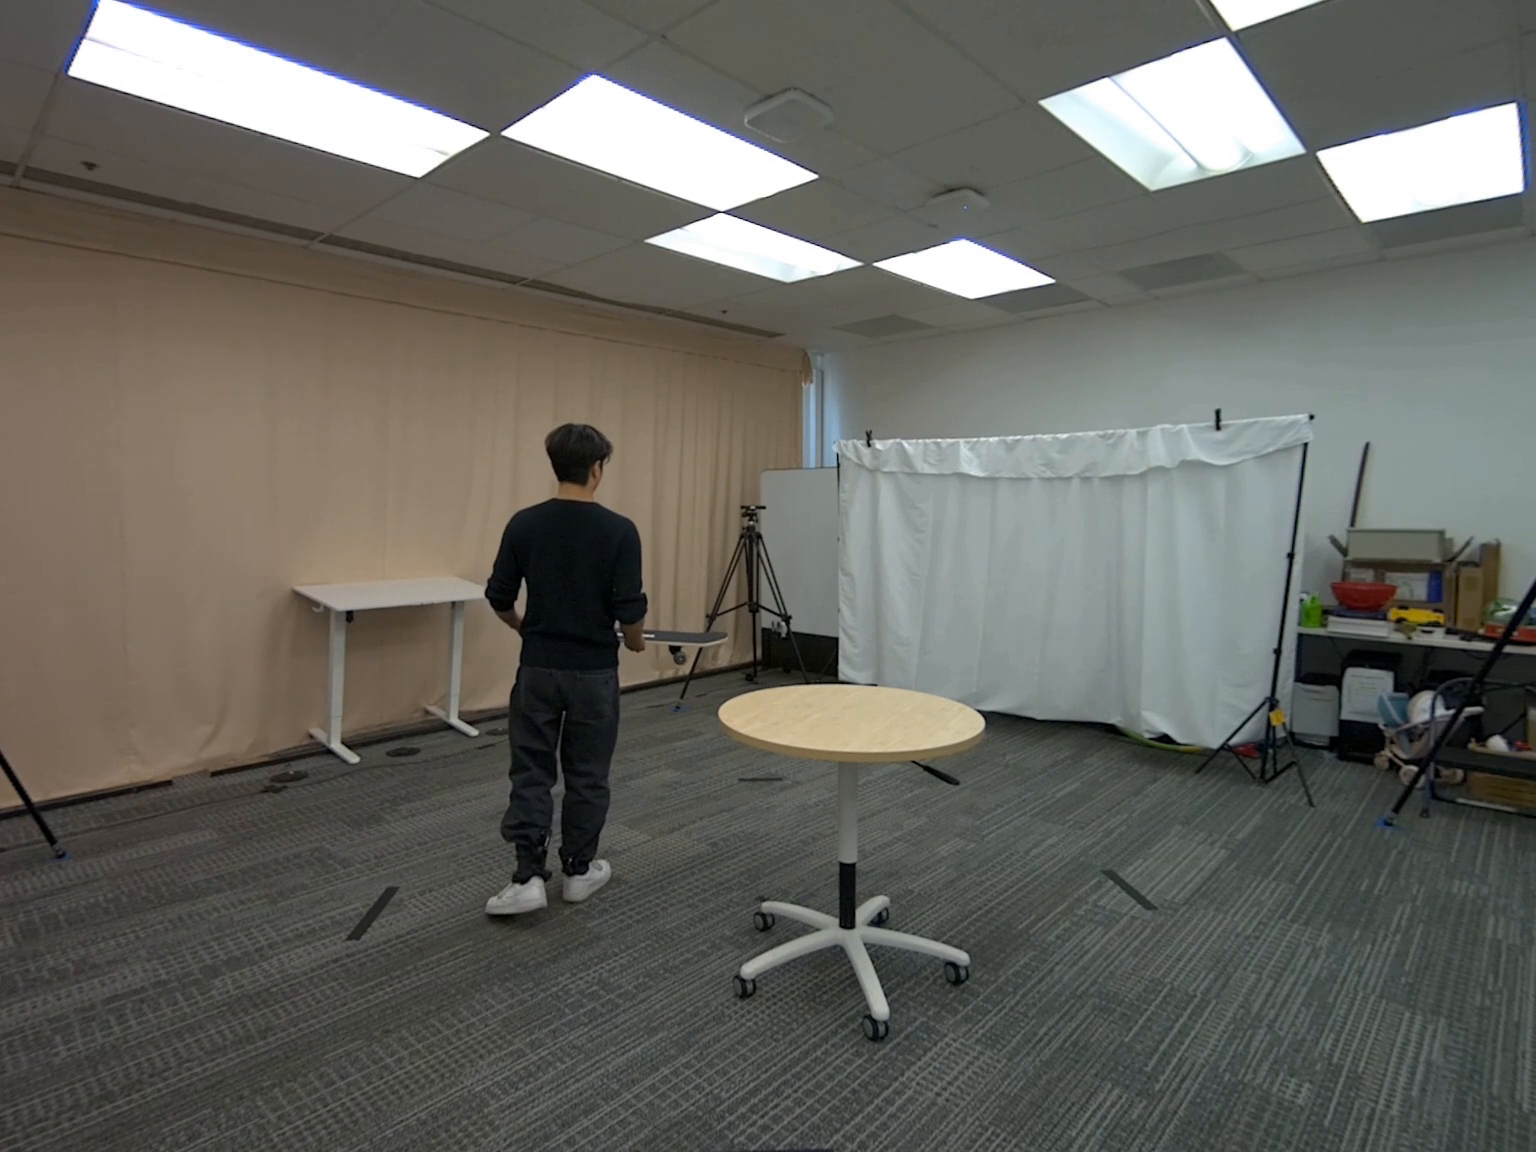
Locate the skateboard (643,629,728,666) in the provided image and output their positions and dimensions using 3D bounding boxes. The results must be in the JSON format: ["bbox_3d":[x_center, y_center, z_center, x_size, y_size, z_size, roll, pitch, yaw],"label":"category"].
[{"bbox_3d":[-0.545,0.263,3.264,0.777,0.110,0.196,3,8,-9],"label":"skateboard"}]
